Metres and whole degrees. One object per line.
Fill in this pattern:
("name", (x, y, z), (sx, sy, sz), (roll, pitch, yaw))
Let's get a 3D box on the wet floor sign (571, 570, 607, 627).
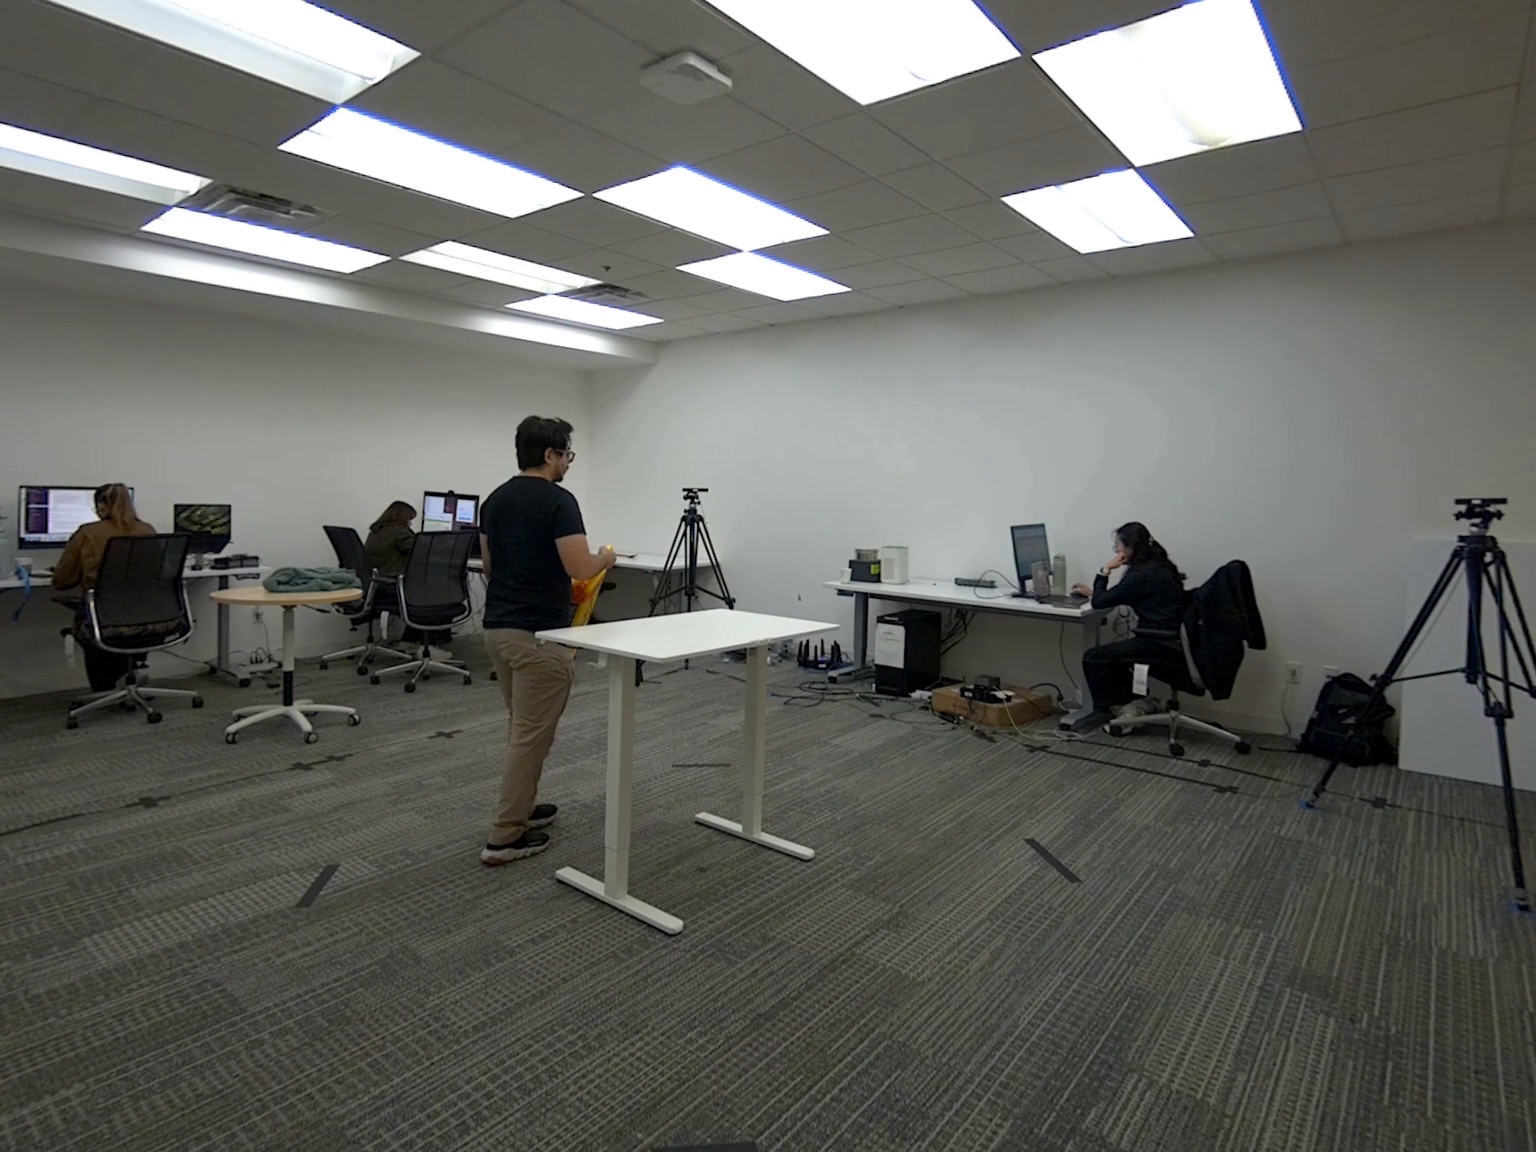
("wet floor sign", (-0.843, 0.136, 3.537), (0.288, 0.645, 0.285), (38, 27, -6))
